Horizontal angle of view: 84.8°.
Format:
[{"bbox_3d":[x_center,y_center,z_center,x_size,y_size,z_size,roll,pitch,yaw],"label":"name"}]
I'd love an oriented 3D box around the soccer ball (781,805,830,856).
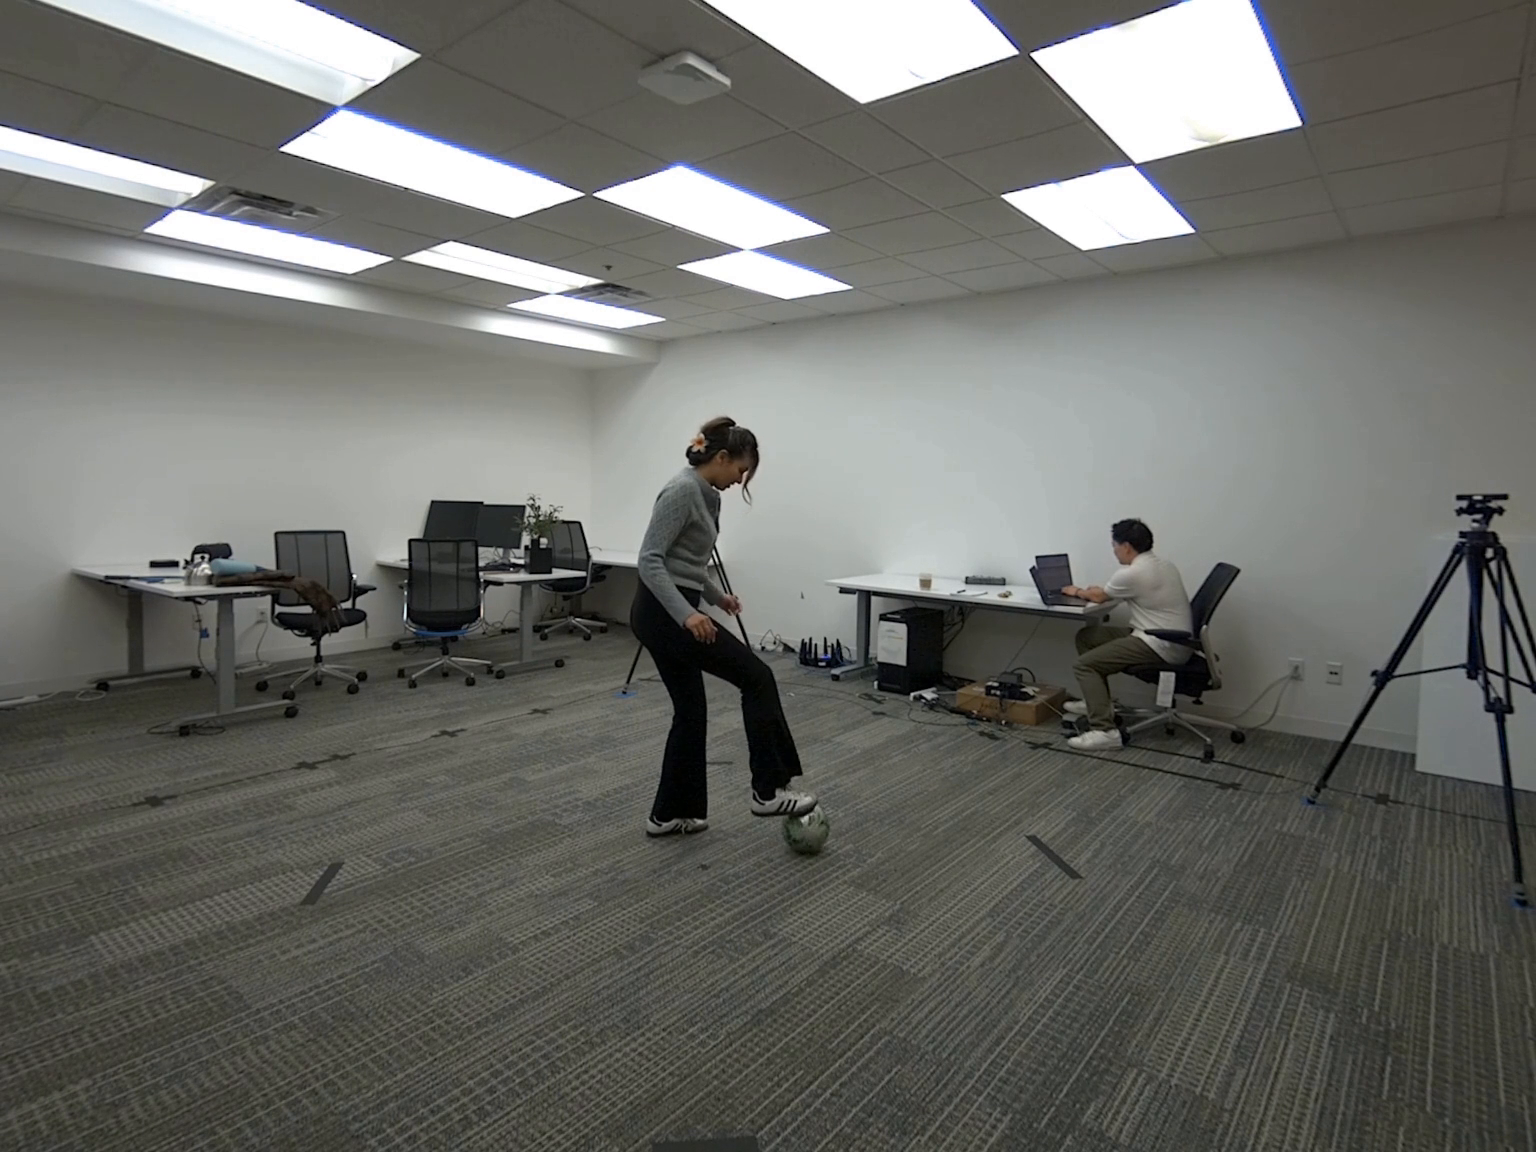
[{"bbox_3d":[0.127,0.964,3.269,0.187,0.187,0.188,1,4,-2],"label":"soccer ball"}]
